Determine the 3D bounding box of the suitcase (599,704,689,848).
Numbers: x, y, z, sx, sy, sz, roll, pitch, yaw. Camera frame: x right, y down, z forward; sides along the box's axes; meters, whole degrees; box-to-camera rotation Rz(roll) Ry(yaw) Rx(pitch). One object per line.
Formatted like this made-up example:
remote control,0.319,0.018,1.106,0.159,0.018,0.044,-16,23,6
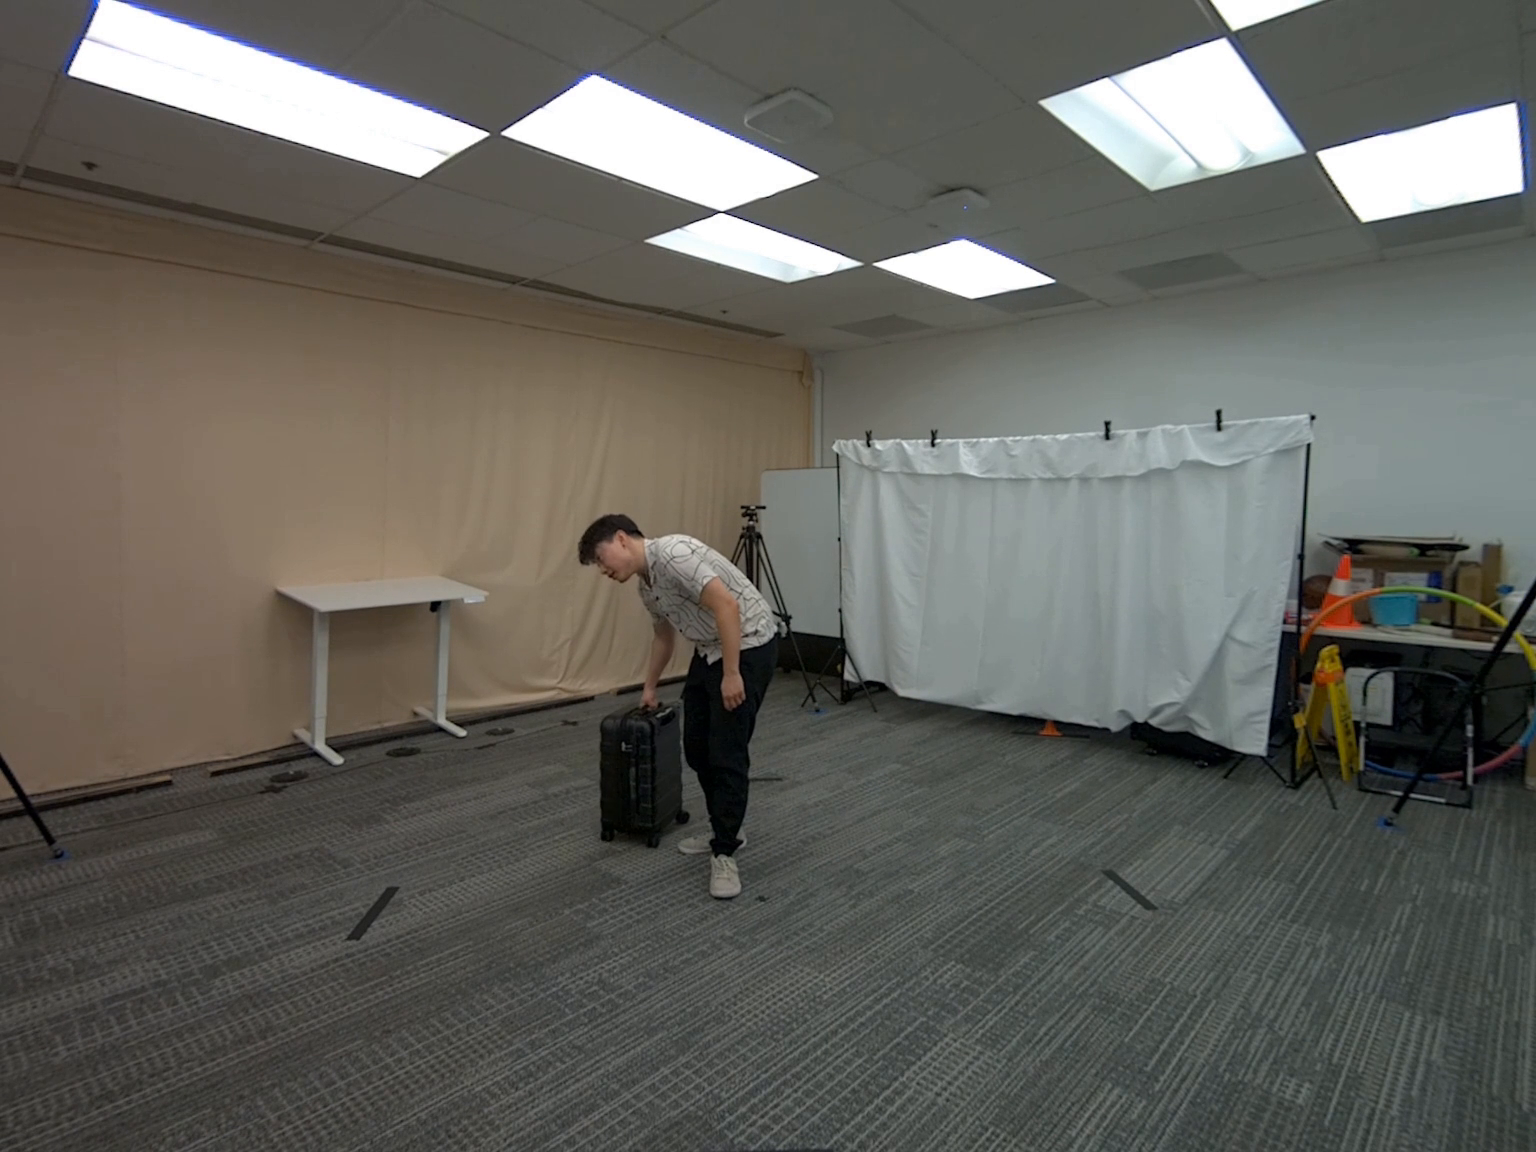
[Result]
suitcase,-0.540,0.822,3.588,0.253,0.548,0.369,0,4,19
